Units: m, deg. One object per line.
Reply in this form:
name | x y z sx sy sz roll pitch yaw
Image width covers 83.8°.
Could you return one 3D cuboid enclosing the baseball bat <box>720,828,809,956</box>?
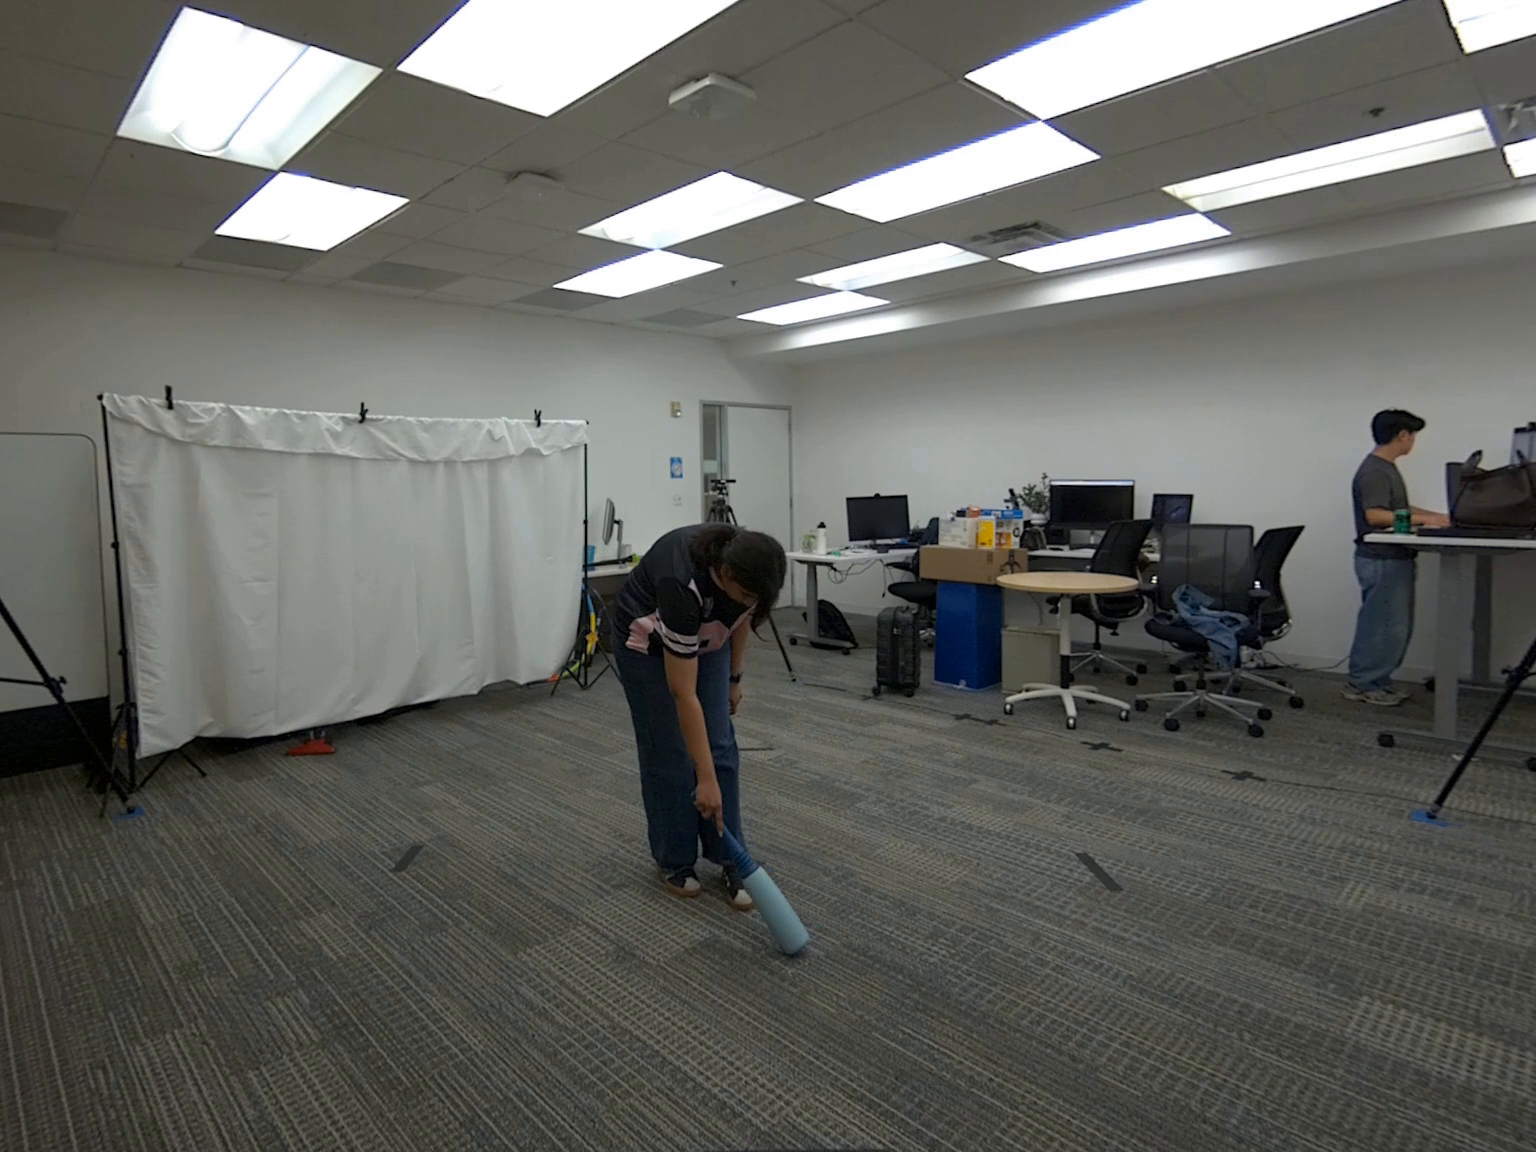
baseball bat | -0.060 0.877 2.575 0.089 0.552 0.088 -33 -12 -9
